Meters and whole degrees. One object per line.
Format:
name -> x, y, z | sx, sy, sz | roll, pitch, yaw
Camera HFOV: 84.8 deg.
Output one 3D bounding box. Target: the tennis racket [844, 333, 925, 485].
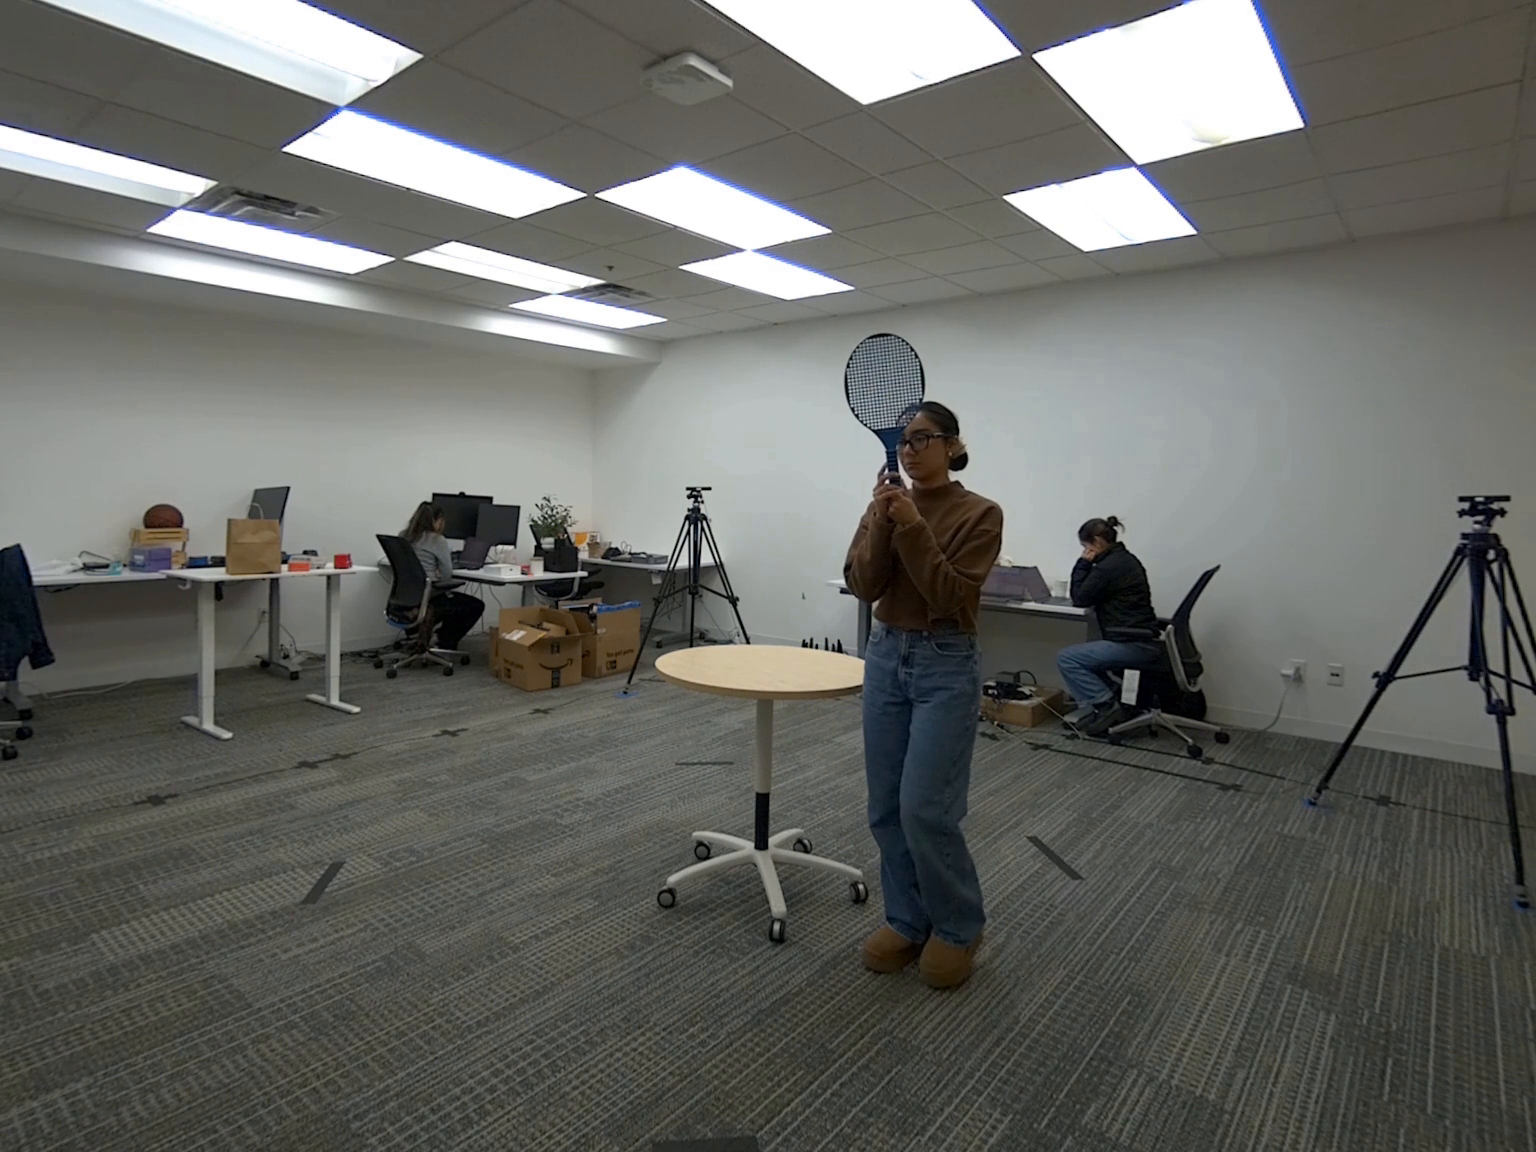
tennis racket -> 0.331, -0.442, 2.311 | 0.215, 0.428, 0.032 | -7, 10, 6
